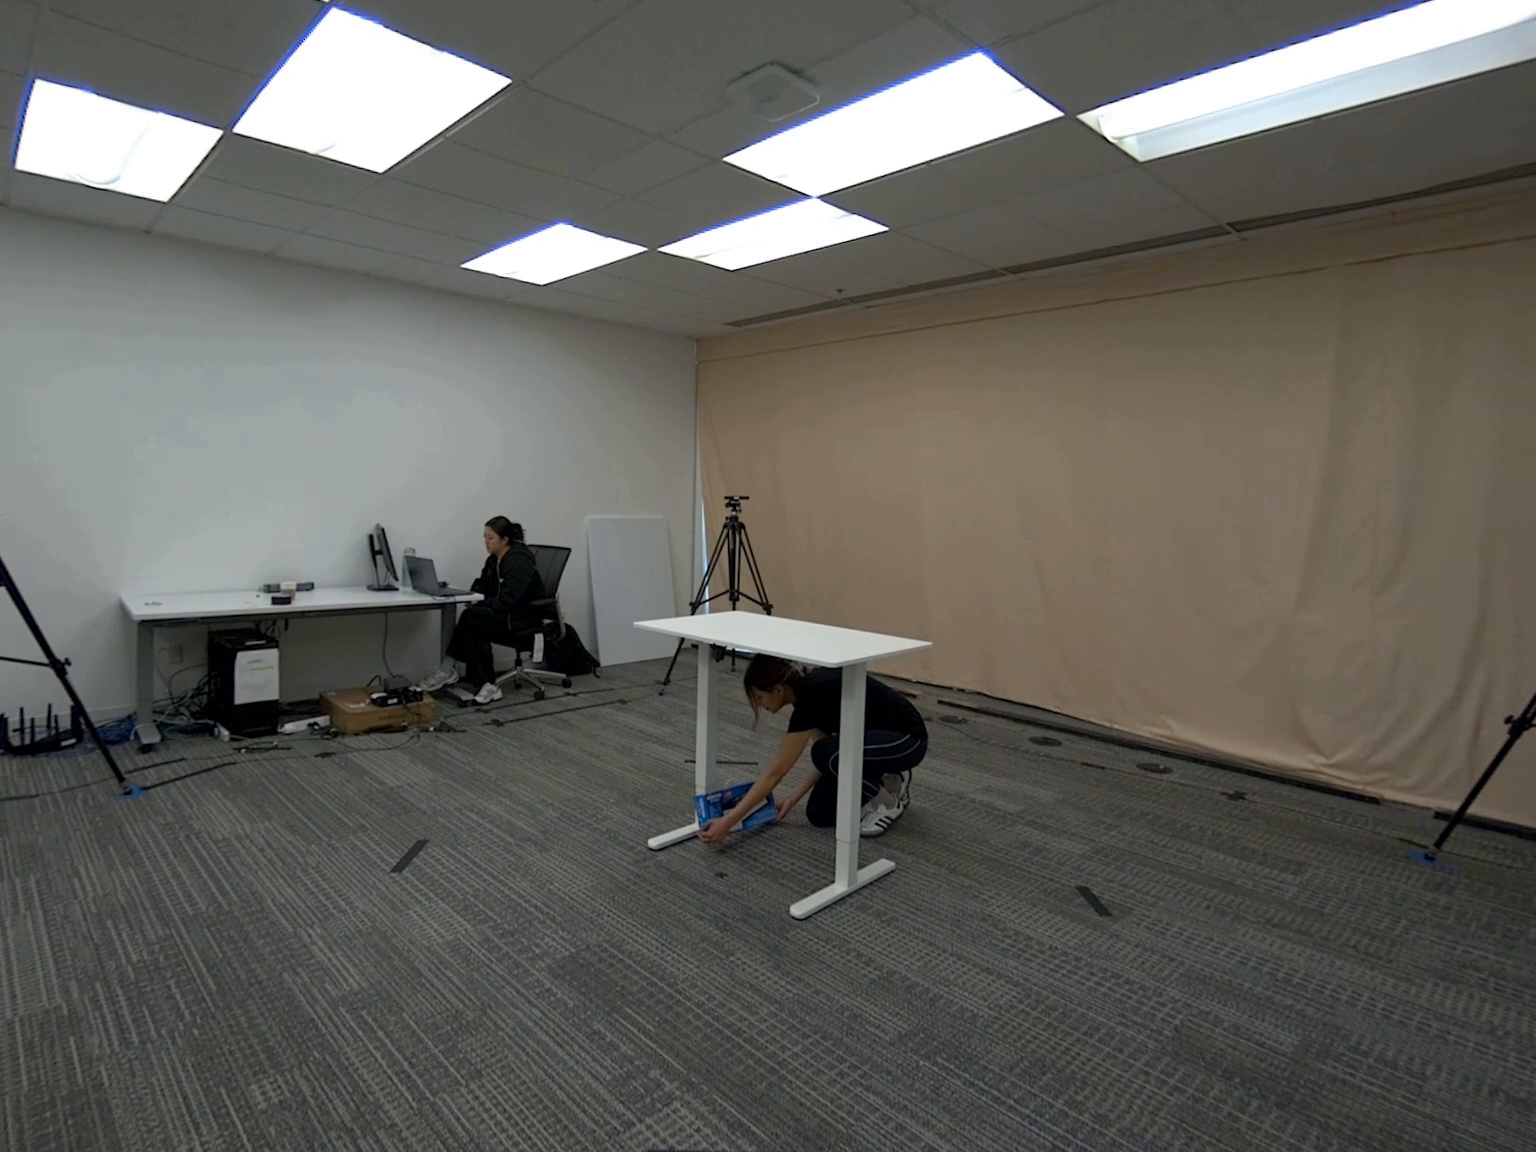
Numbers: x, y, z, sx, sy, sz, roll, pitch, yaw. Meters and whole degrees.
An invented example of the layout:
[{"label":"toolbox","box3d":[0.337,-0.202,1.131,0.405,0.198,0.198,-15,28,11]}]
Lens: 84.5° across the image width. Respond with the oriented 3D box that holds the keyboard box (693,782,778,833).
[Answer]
[{"label":"keyboard box","box3d":[-0.134,0.951,3.461,0.060,0.178,0.426,-19,-13,36]}]
